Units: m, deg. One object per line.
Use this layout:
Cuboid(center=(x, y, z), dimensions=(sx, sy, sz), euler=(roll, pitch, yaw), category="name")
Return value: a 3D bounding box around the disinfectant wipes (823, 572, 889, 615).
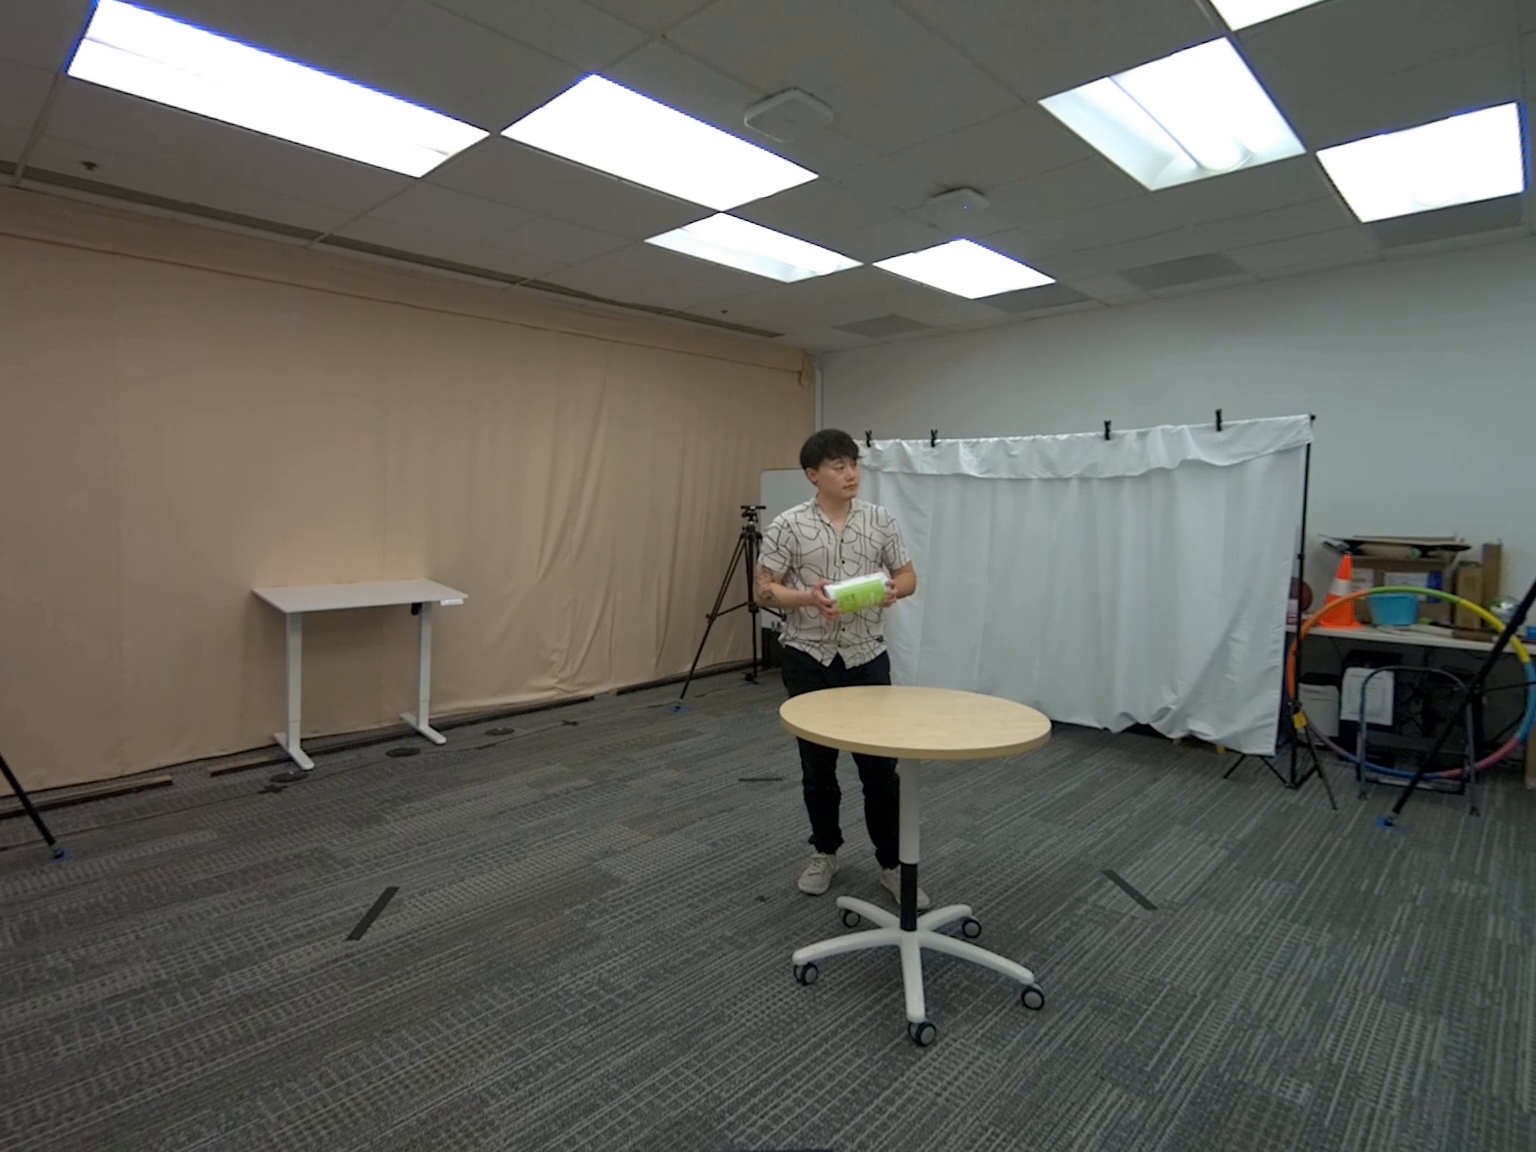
Cuboid(center=(0.301, 0.062, 2.851), dimensions=(0.215, 0.117, 0.119), euler=(-14, 6, -11), category="disinfectant wipes")
